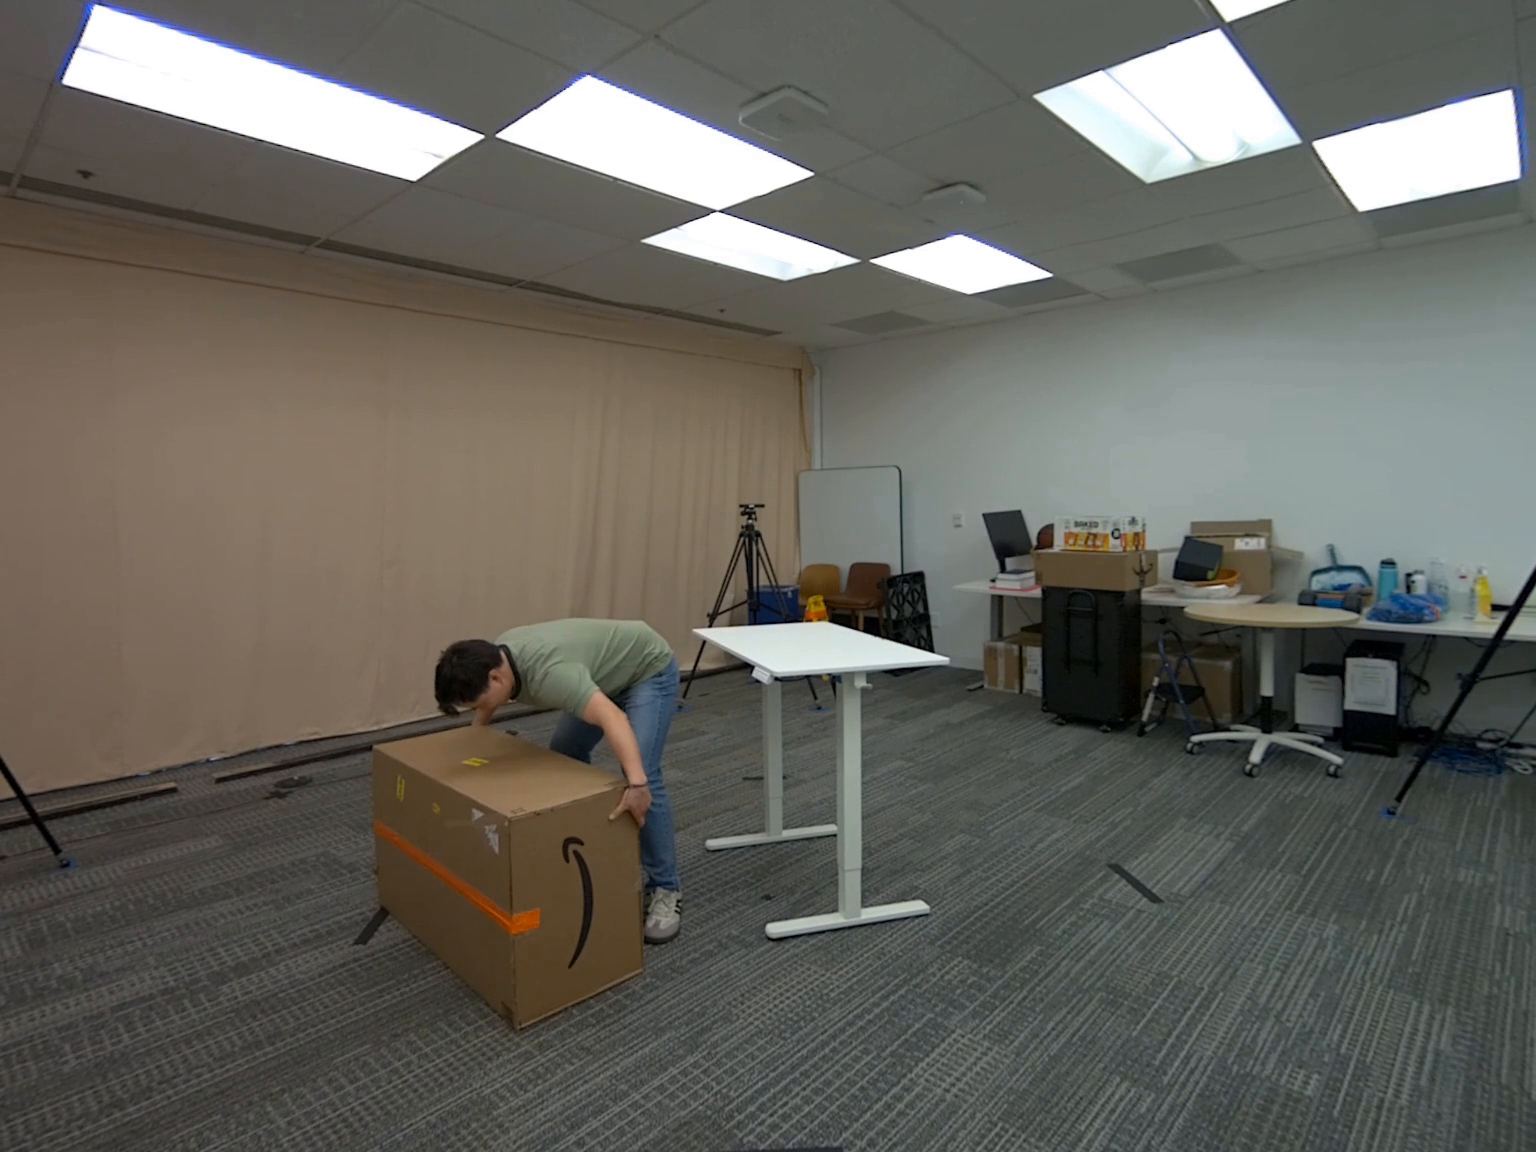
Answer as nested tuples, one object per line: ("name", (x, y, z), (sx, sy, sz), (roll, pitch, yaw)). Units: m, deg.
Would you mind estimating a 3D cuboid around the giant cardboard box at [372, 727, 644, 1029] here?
("giant cardboard box", (-0.890, 0.891, 2.746), (0.413, 0.577, 1.060), (-3, 4, -43))
